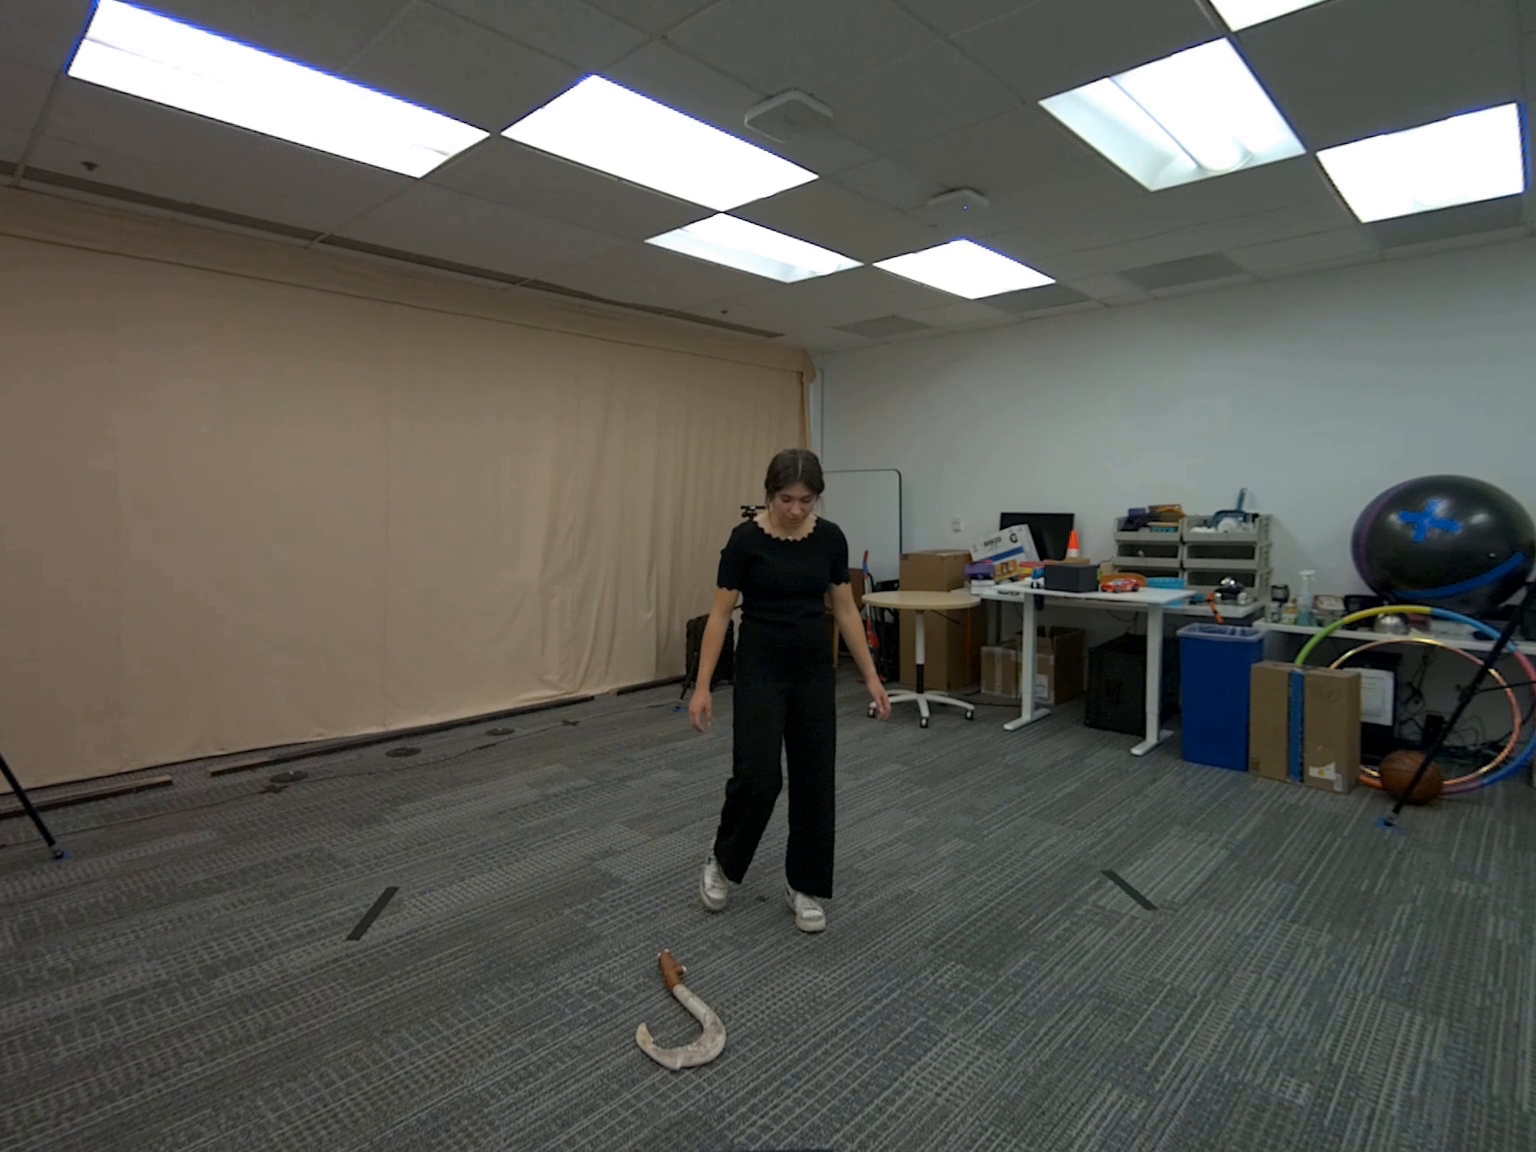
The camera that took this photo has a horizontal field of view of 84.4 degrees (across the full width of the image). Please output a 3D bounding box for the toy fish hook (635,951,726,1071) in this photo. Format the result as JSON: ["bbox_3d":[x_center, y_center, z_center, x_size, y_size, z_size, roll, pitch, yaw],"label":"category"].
[{"bbox_3d":[-0.275,1.179,2.312,0.220,0.048,0.518,-1,5,-21],"label":"toy fish hook"}]
